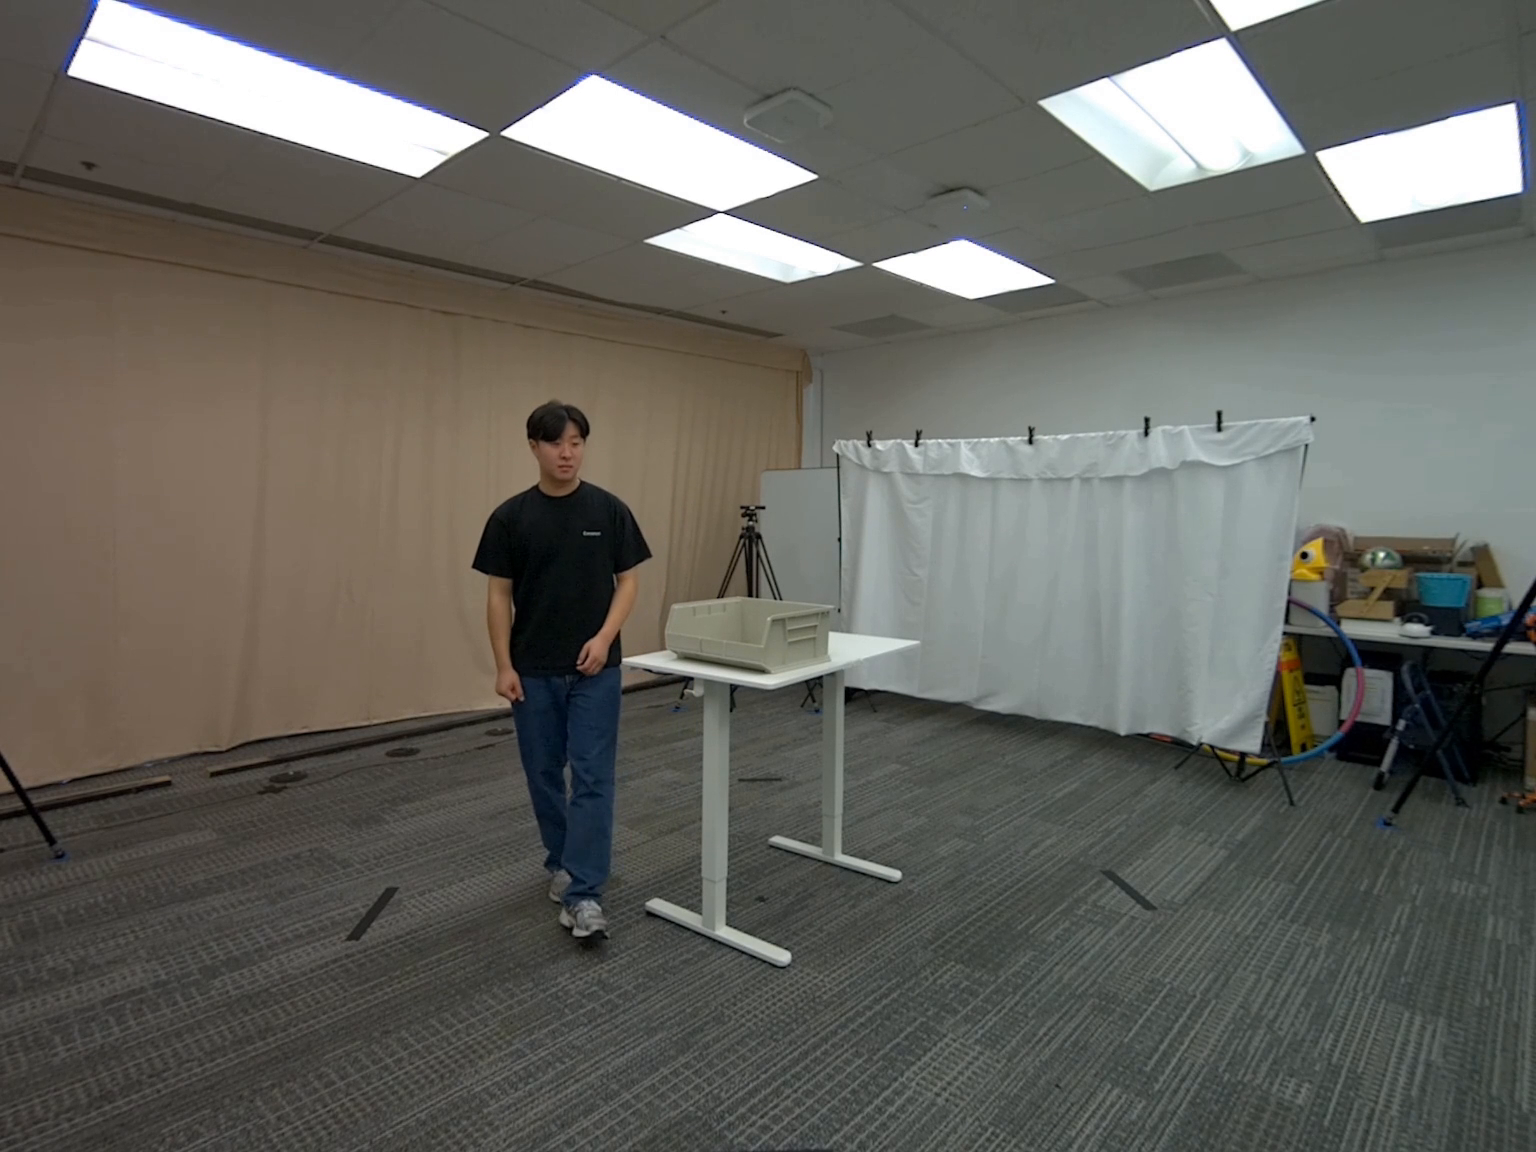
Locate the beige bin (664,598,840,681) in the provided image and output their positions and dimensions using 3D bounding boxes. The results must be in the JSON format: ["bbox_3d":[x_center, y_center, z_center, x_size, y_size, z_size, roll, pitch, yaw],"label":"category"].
[{"bbox_3d":[-0.054,0.192,2.758,0.436,0.189,0.365,4,4,41],"label":"beige bin"}]
